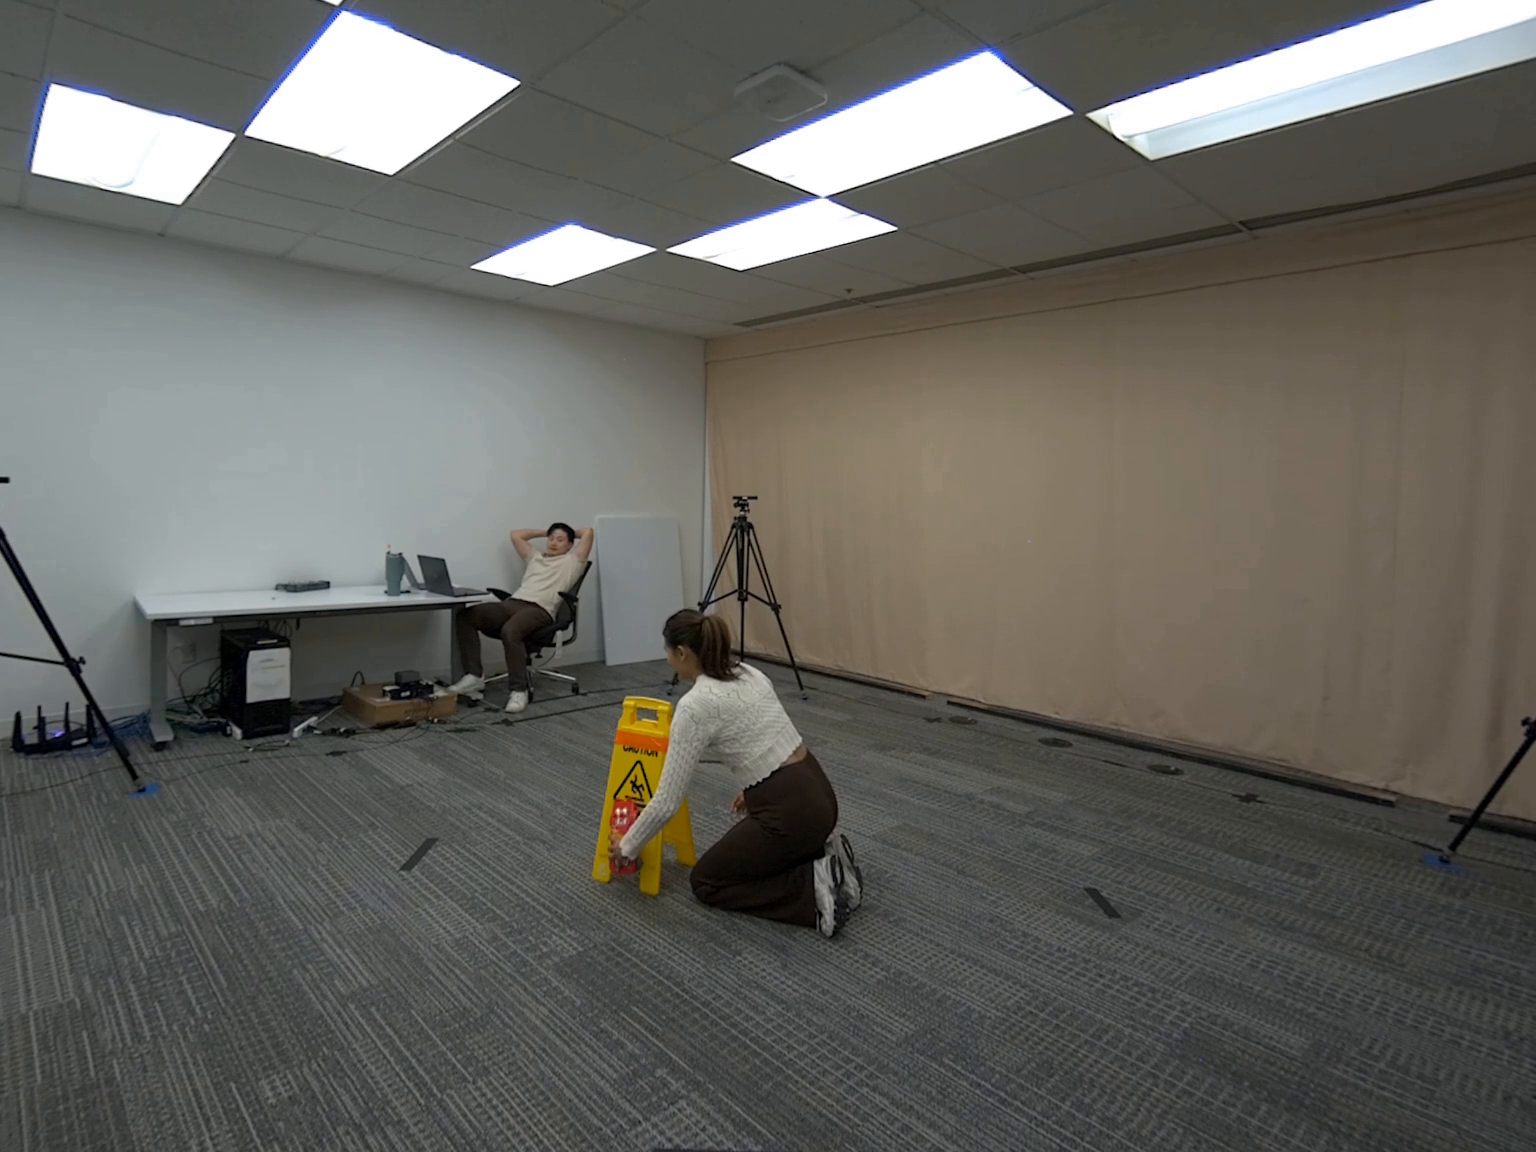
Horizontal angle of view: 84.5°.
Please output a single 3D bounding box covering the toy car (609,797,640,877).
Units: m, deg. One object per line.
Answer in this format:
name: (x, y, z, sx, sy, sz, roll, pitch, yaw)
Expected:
toy car: (-0.508, 0.911, 2.967, 0.132, 0.257, 0.081, -13, -14, 21)
